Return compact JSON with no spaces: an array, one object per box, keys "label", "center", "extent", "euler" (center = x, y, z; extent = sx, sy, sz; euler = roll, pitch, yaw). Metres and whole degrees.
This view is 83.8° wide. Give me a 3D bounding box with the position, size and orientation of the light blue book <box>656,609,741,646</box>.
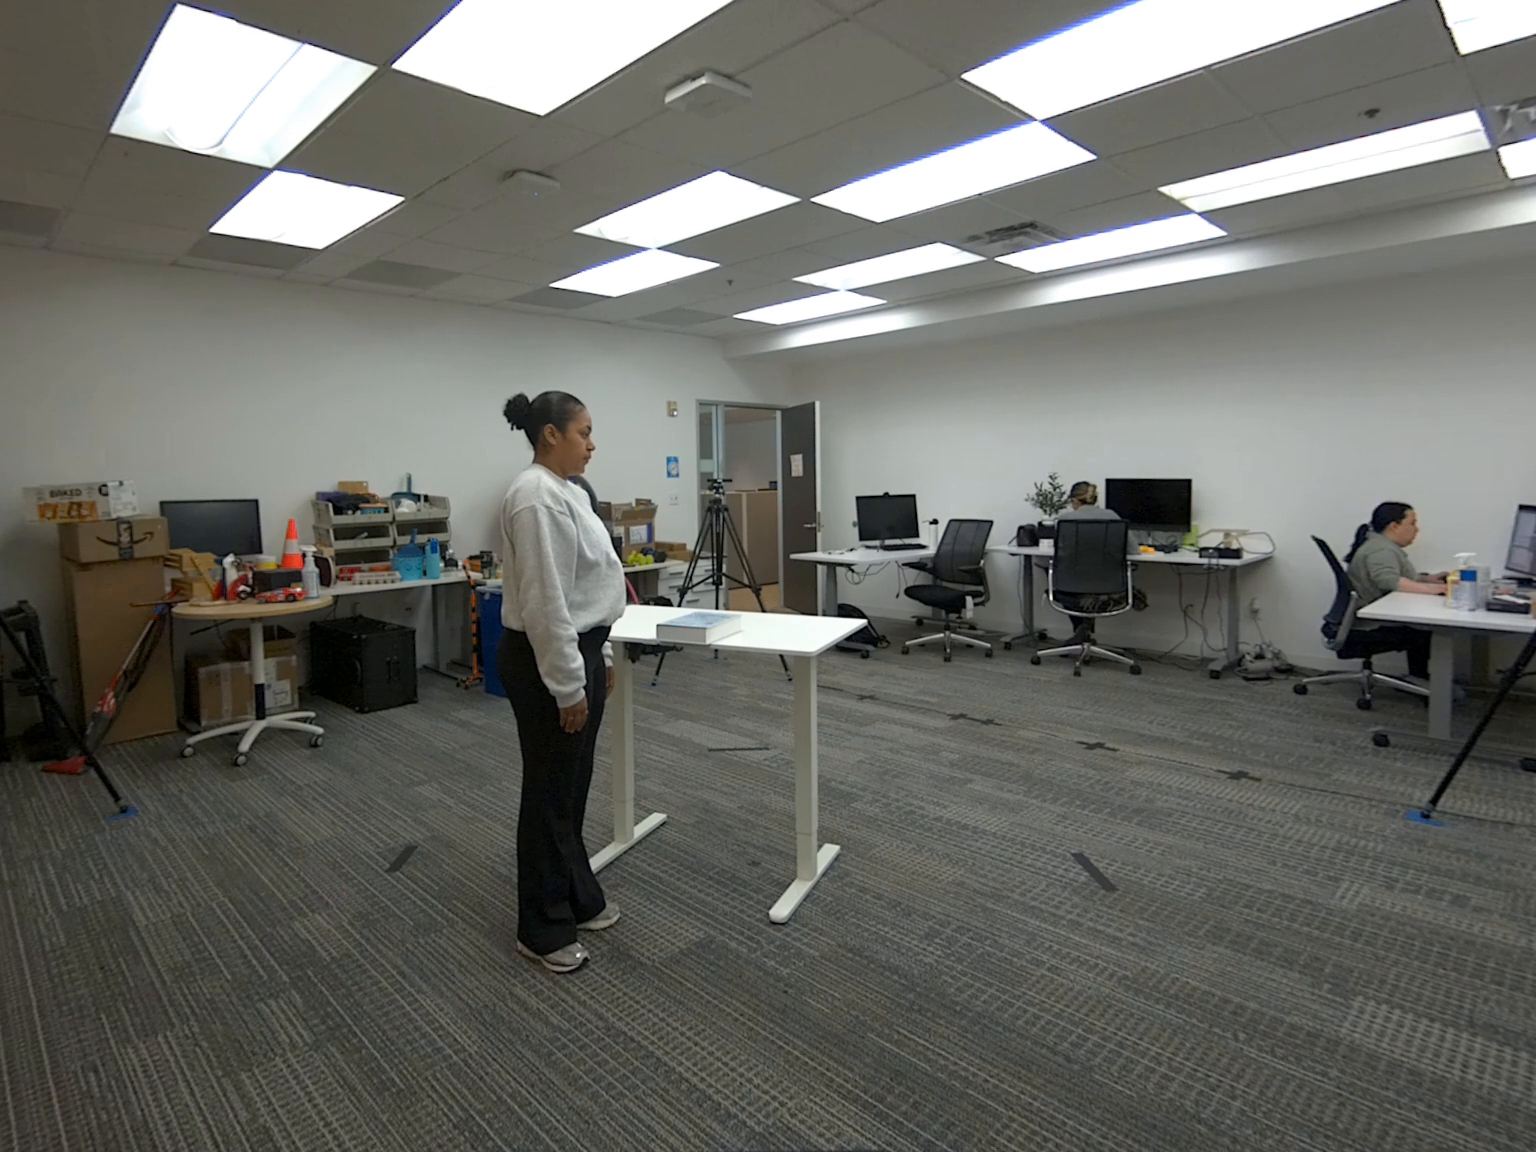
[{"label":"light blue book","center":[-0.224,0.168,2.834],"extent":[0.196,0.059,0.256],"euler":[2,7,26]}]
